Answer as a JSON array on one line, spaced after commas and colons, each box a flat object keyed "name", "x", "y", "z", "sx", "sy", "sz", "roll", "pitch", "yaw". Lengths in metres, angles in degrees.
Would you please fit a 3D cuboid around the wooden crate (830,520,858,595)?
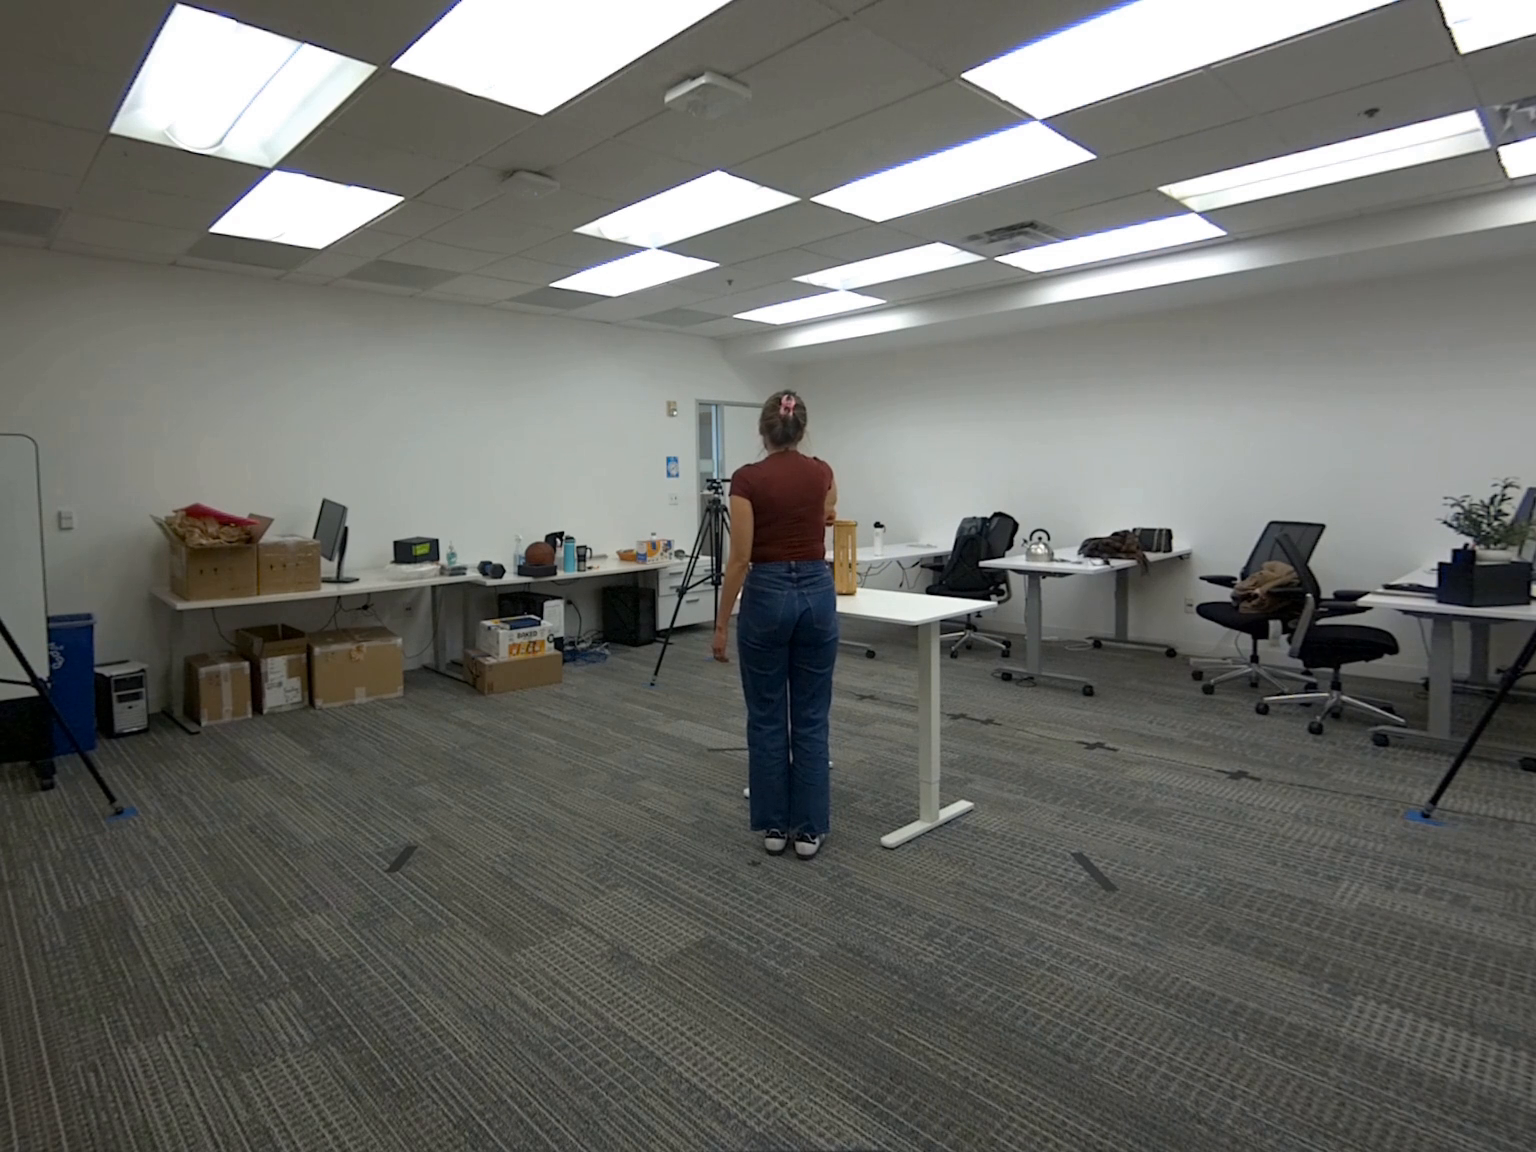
[{"name": "wooden crate", "x": 0.275, "y": -0.091, "z": 3.874, "sx": 0.275, "sy": 0.323, "sz": 0.302, "roll": 0, "pitch": 6, "yaw": 5}]
